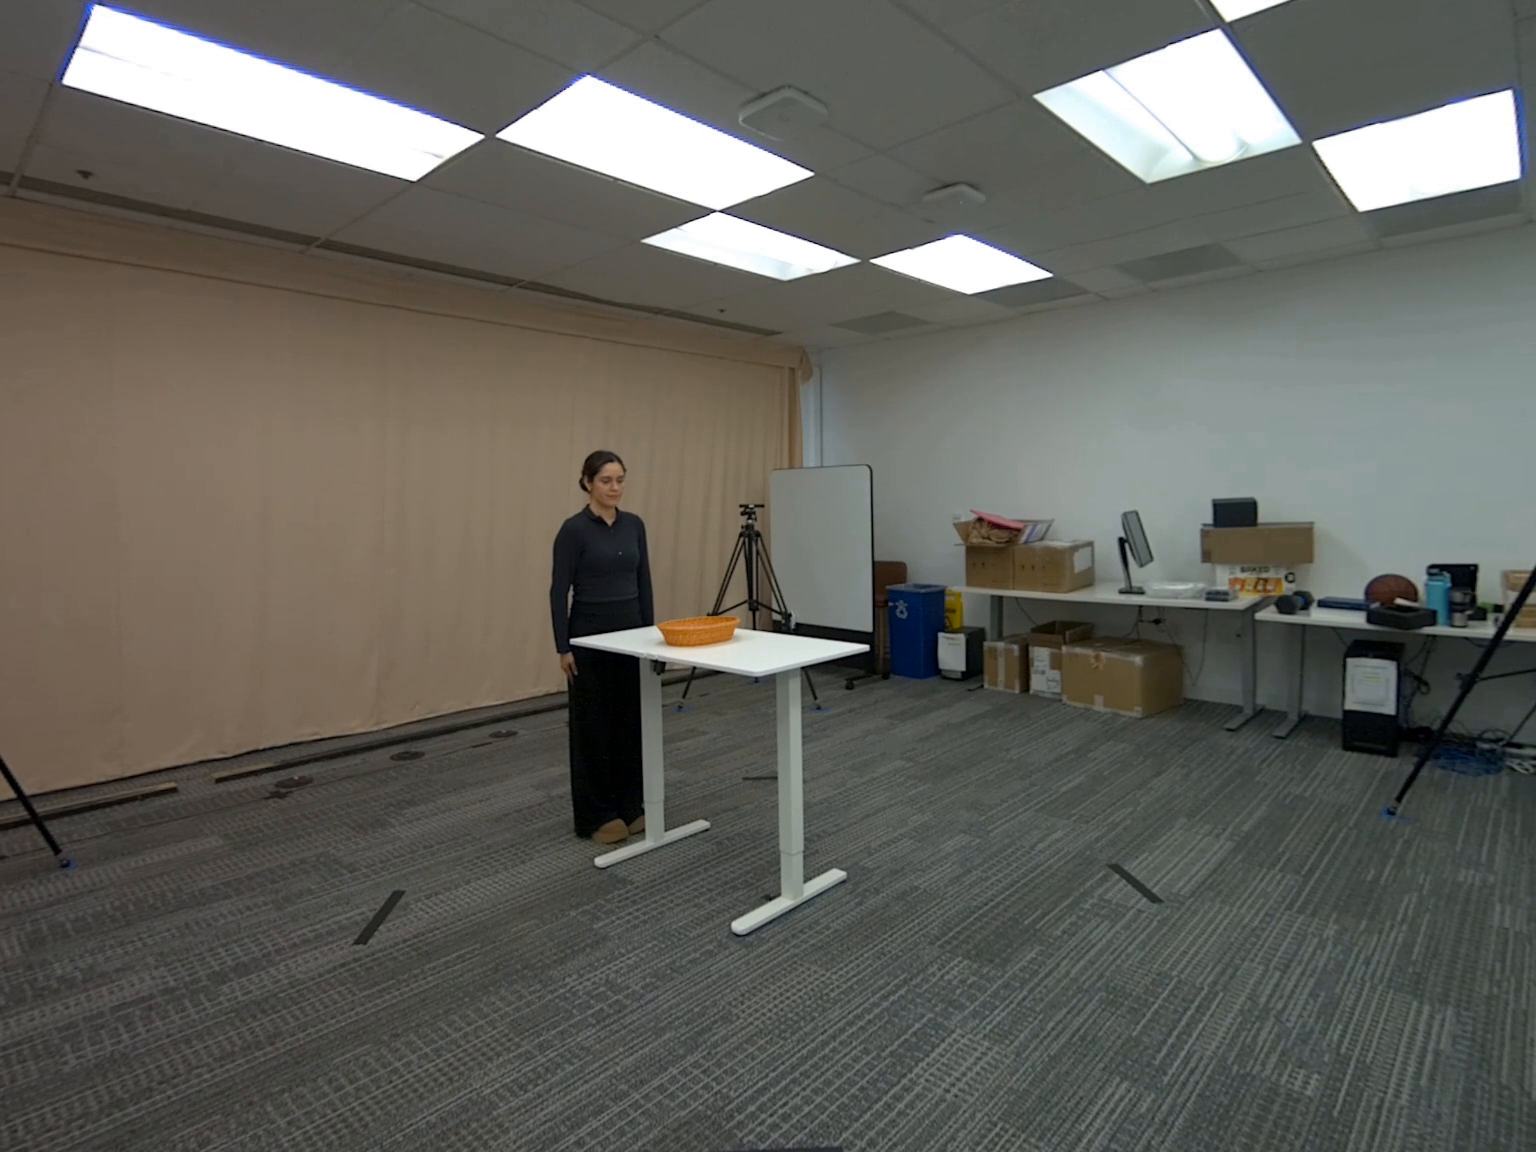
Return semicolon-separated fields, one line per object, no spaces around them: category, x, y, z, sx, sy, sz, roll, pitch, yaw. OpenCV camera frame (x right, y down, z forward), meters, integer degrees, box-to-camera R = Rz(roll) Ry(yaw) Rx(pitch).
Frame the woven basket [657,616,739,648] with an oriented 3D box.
woven basket;-0.270;0.214;3.191;0.340;0.073;0.261;-6;7;-44
